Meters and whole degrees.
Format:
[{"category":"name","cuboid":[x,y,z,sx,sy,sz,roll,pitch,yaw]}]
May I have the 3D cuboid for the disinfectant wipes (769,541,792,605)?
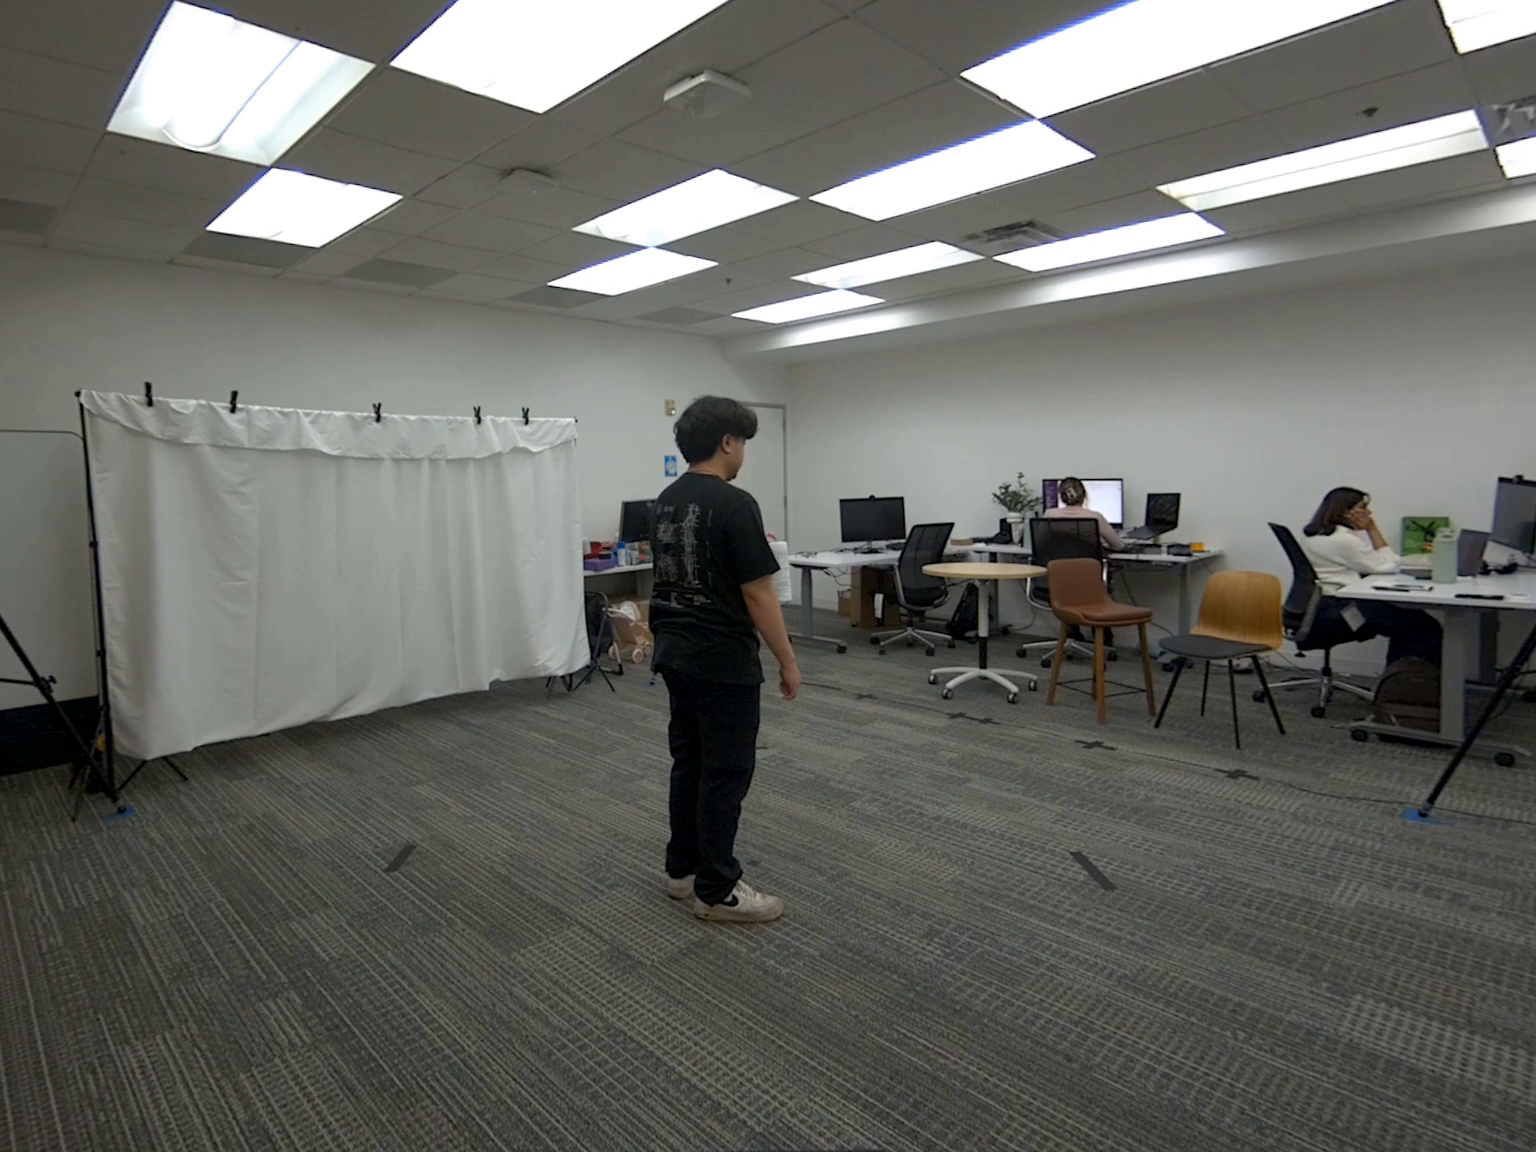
[{"category":"disinfectant wipes","cuboid":[0.028,-0.006,3.082,0.118,0.218,0.118,-4,-2,-2]}]
